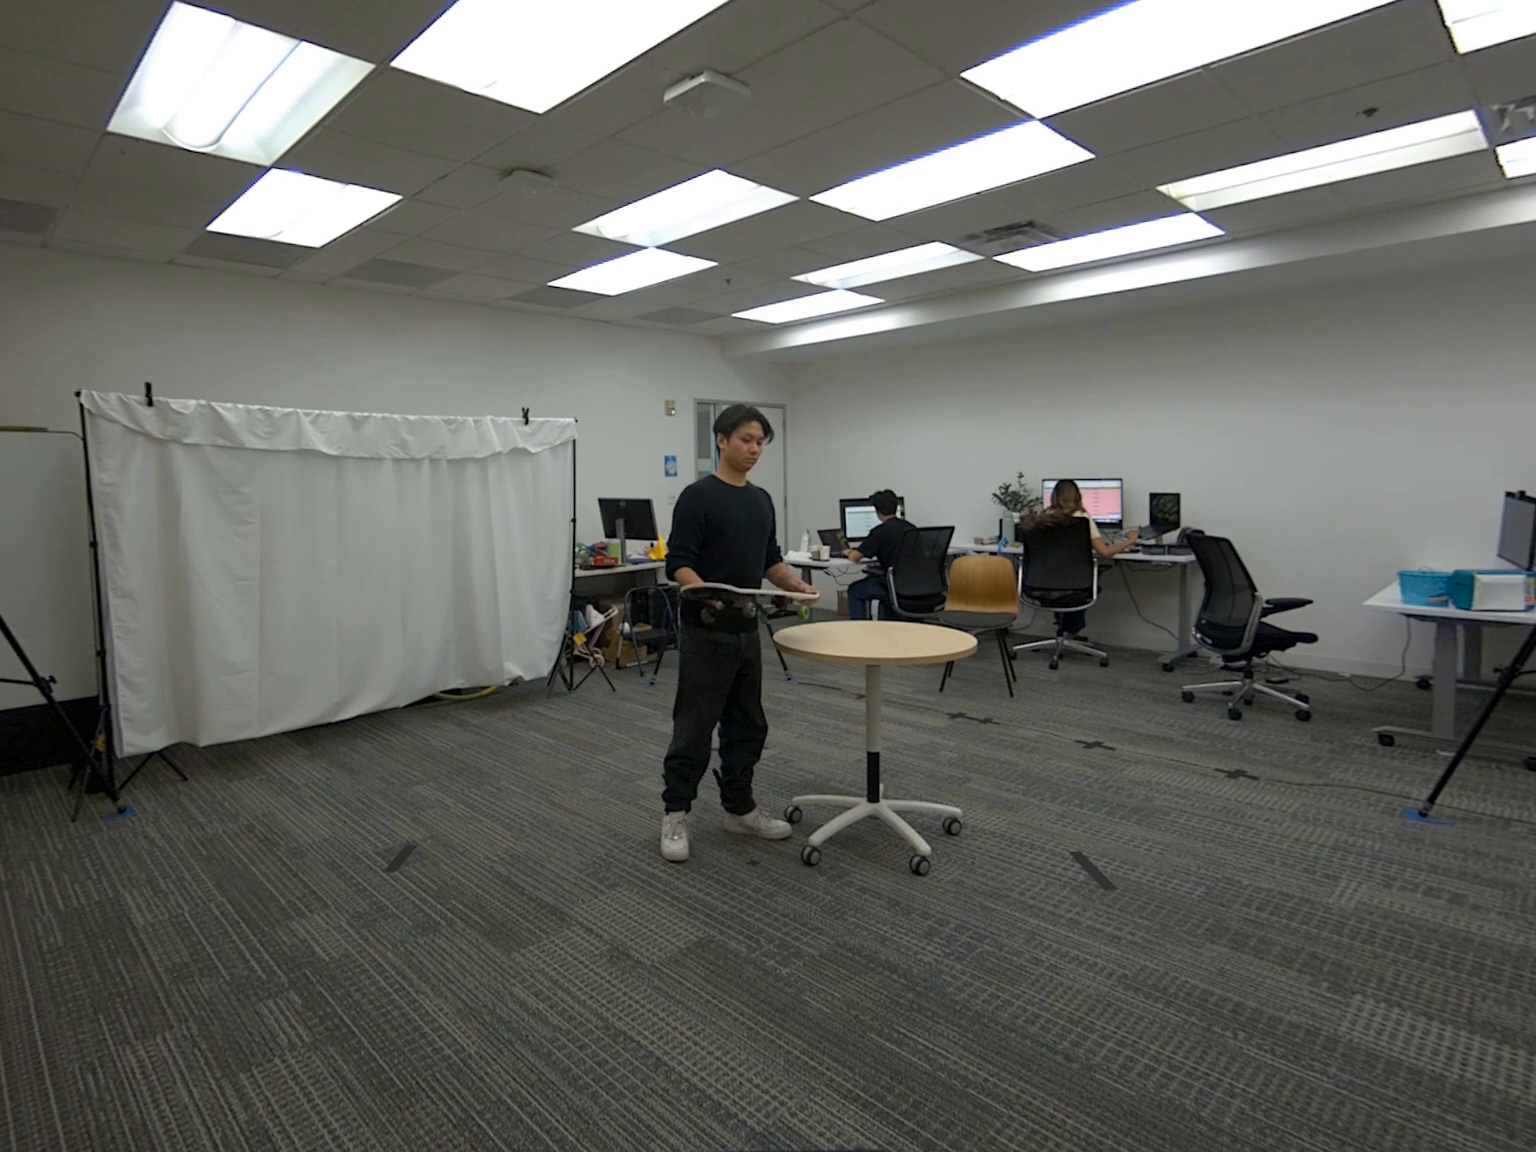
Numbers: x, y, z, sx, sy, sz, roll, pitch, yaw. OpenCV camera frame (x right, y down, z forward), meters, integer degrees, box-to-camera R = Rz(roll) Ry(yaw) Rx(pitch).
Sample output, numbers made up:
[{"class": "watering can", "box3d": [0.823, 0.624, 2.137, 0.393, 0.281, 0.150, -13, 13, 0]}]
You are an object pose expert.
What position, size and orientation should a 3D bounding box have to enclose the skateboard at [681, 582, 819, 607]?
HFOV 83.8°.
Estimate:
[{"class": "skateboard", "box3d": [-0.039, 0.107, 2.939, 0.197, 0.111, 0.763, -10, -8, 28]}]
